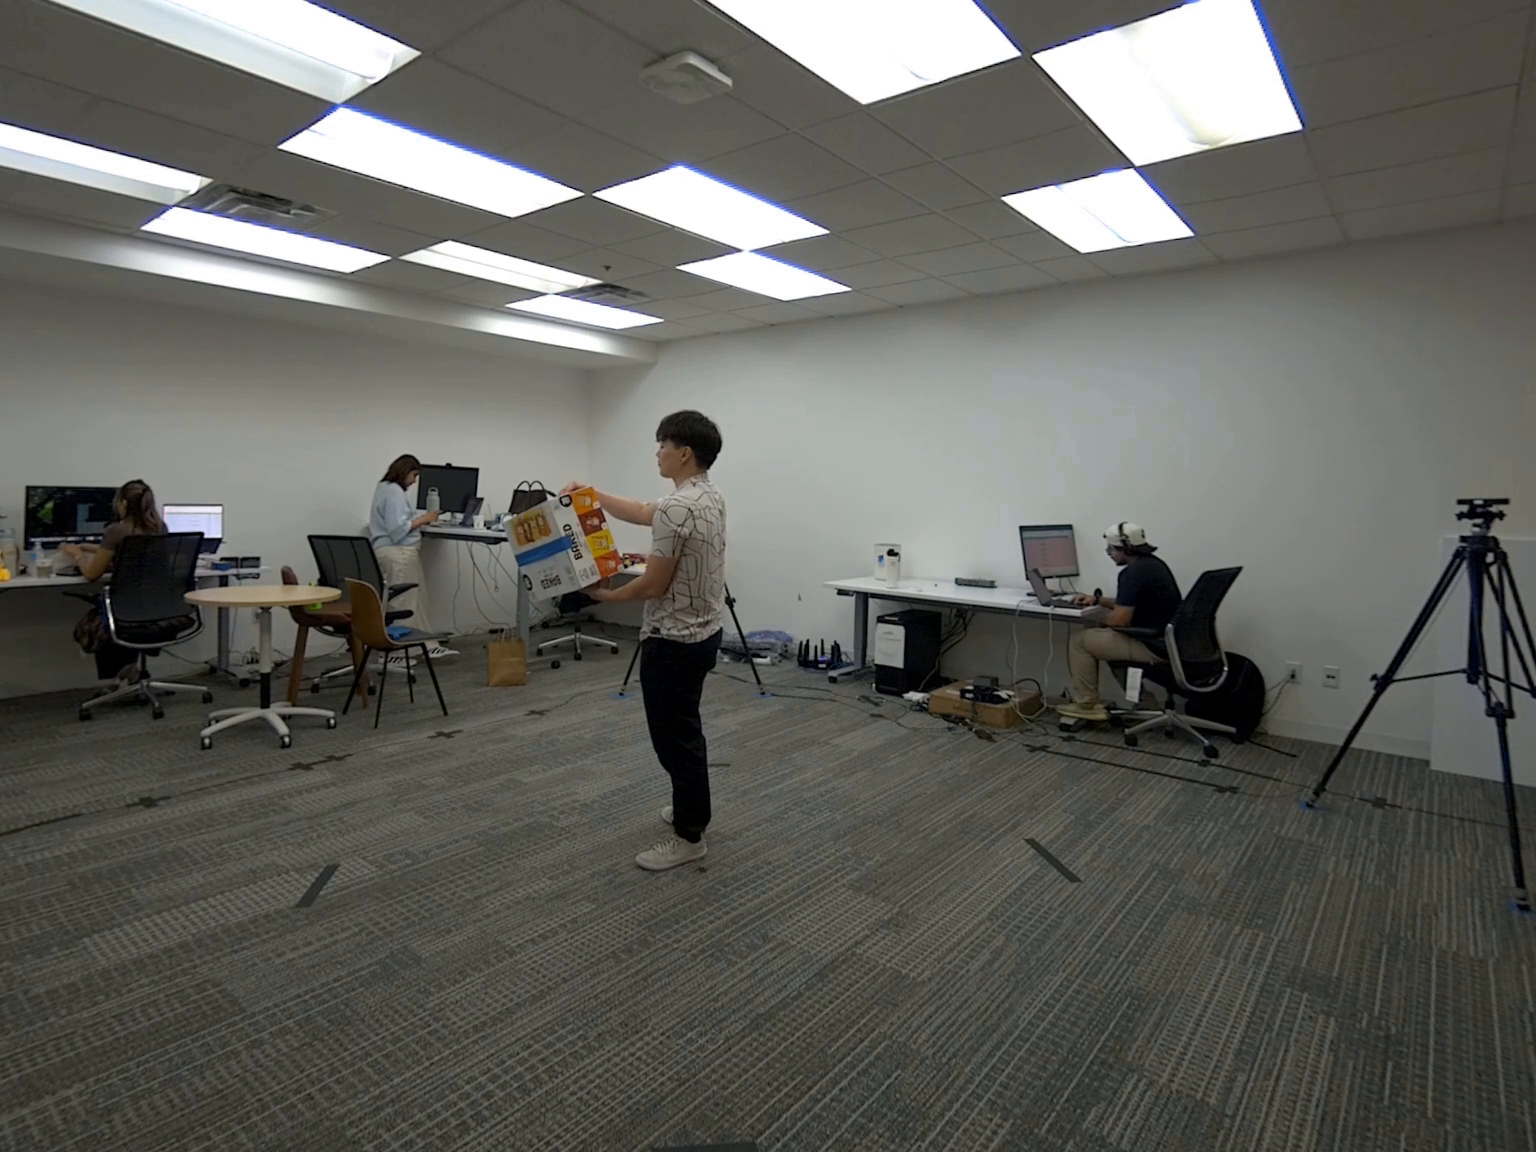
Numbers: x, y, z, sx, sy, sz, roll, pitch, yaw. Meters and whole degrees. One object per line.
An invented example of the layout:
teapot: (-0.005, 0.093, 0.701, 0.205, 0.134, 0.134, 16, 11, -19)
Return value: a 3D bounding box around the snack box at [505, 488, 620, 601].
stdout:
snack box: (-0.805, -0.118, 3.281, 0.202, 0.338, 0.414, -25, 7, -41)
